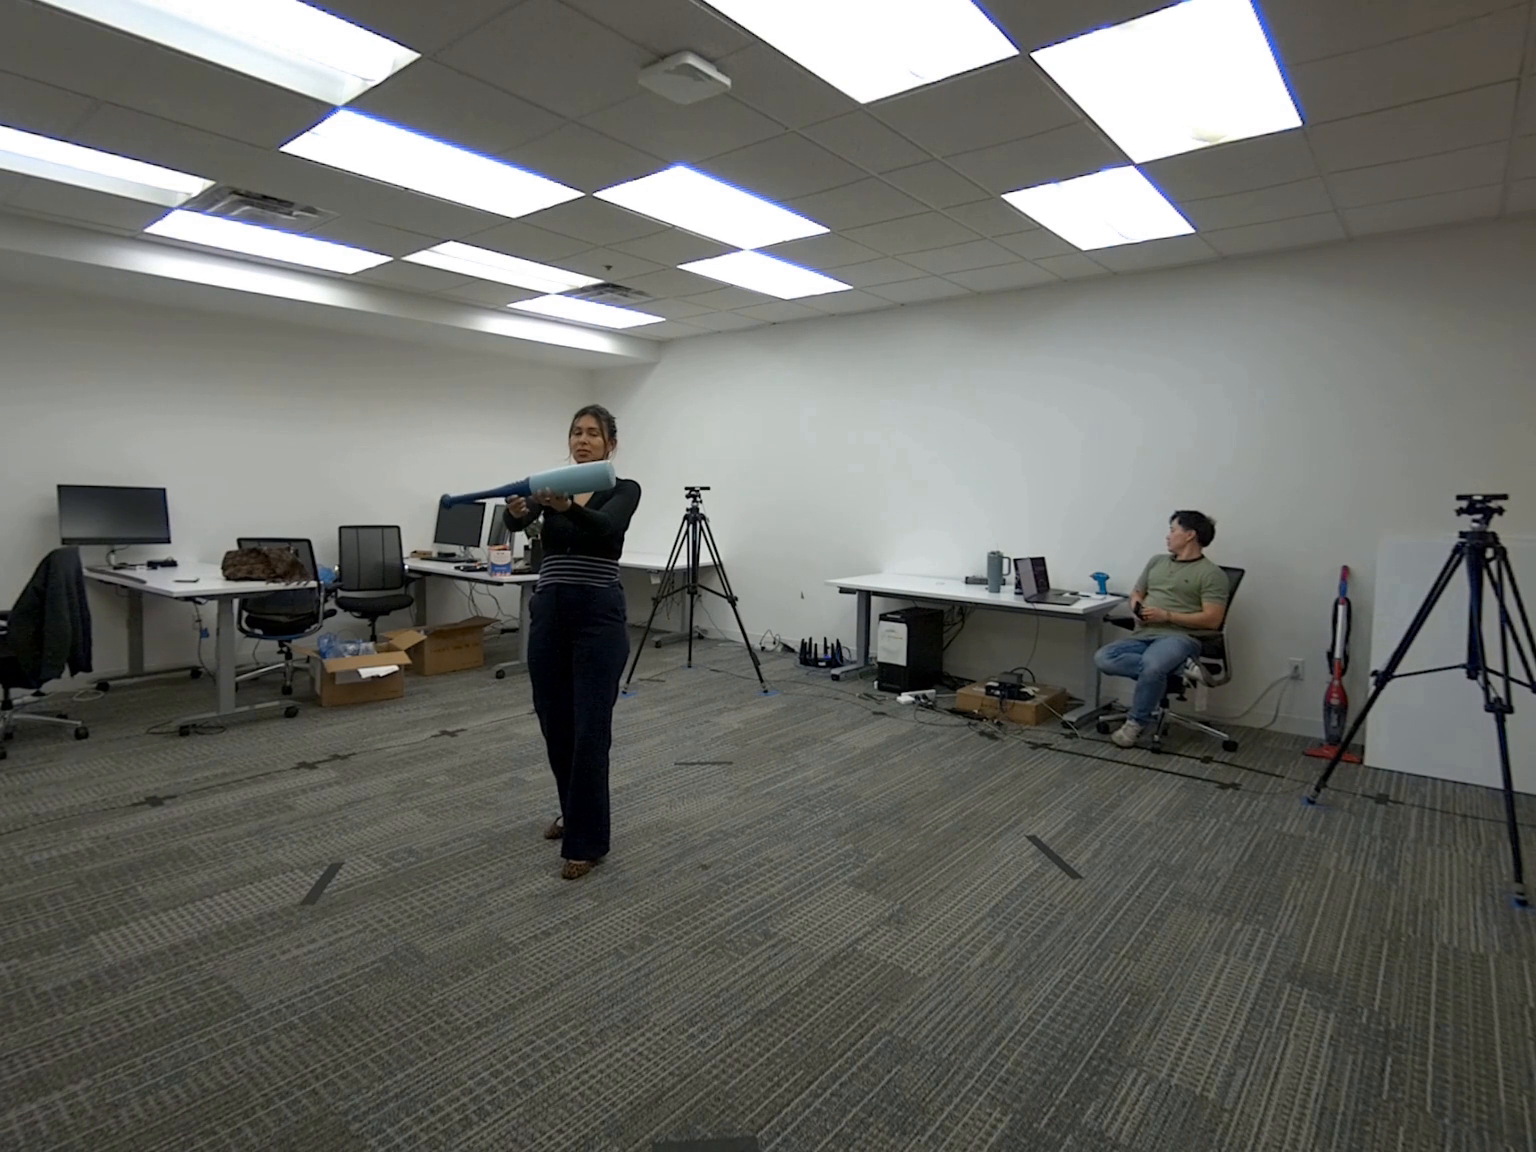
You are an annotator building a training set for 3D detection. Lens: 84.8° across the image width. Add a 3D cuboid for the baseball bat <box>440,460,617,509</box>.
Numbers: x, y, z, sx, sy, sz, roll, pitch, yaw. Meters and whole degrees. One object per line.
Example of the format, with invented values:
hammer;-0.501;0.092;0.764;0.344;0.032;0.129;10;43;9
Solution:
baseball bat;-0.746;-0.265;2.567;0.547;0.089;0.088;-9;3;8
